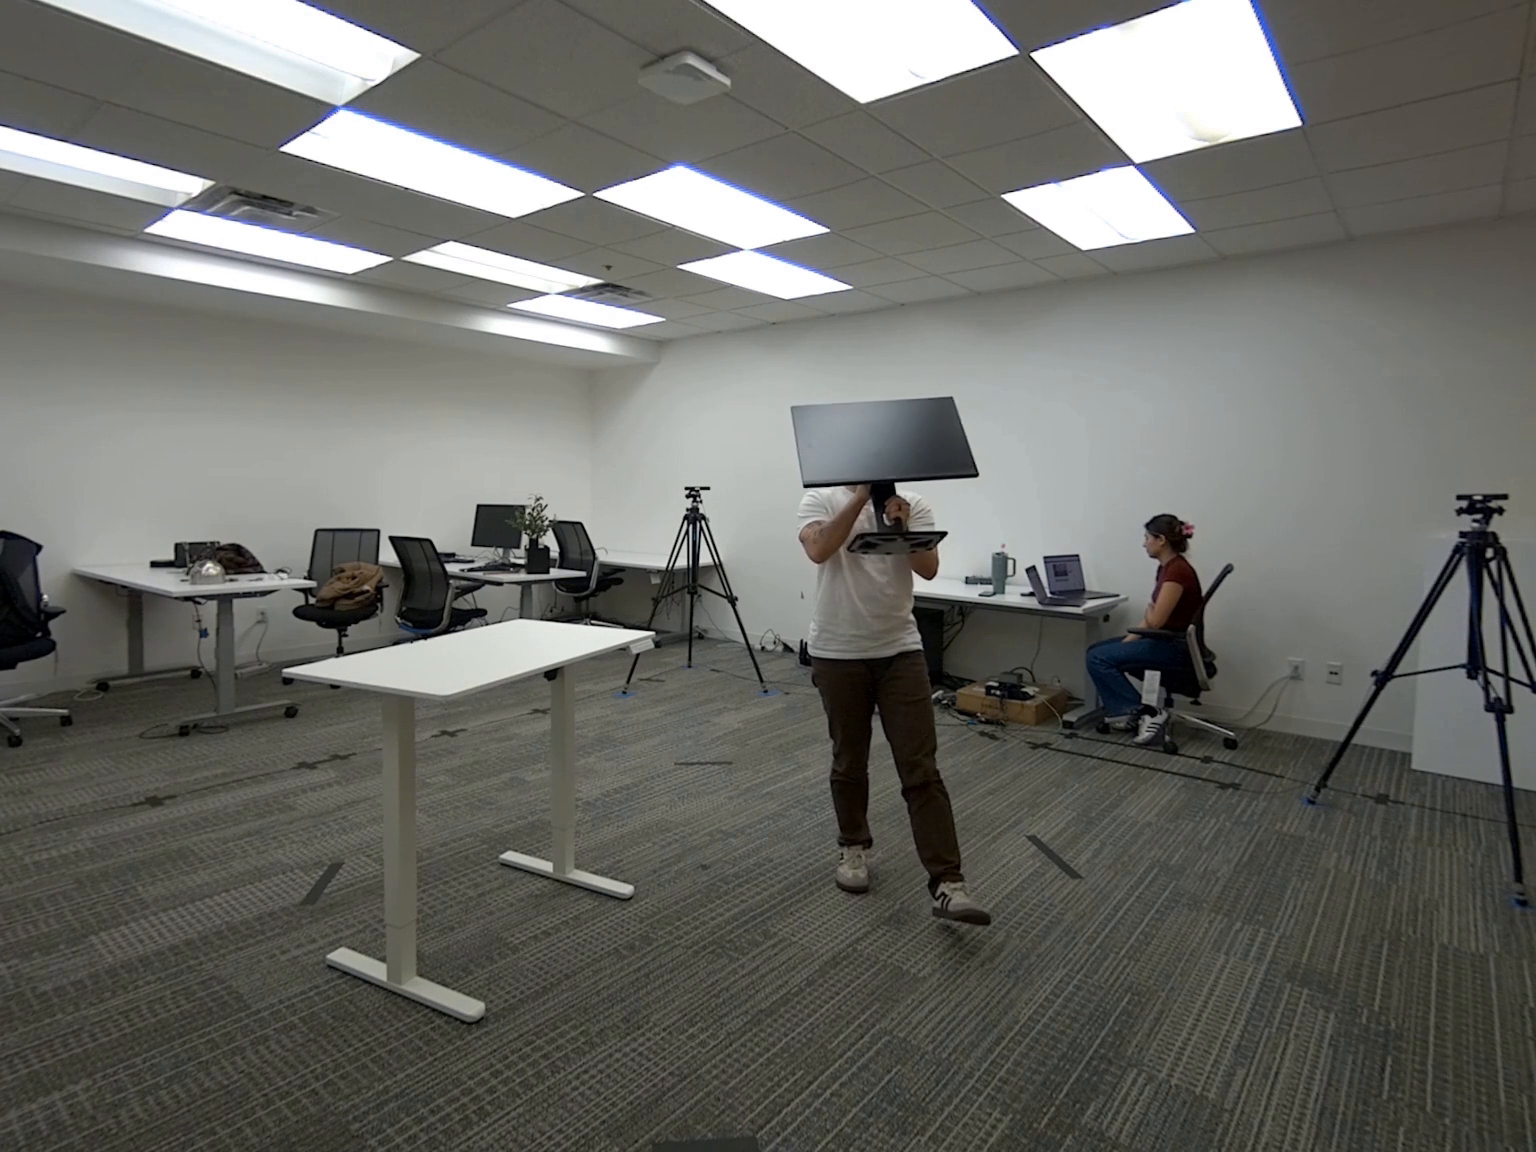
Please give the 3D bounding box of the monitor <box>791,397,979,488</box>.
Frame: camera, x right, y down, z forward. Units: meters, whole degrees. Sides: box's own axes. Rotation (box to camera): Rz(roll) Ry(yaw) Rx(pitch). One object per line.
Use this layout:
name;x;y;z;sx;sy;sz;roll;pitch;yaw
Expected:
monitor;0.364;-0.334;2.673;0.538;0.534;0.183;-3;-23;-3
